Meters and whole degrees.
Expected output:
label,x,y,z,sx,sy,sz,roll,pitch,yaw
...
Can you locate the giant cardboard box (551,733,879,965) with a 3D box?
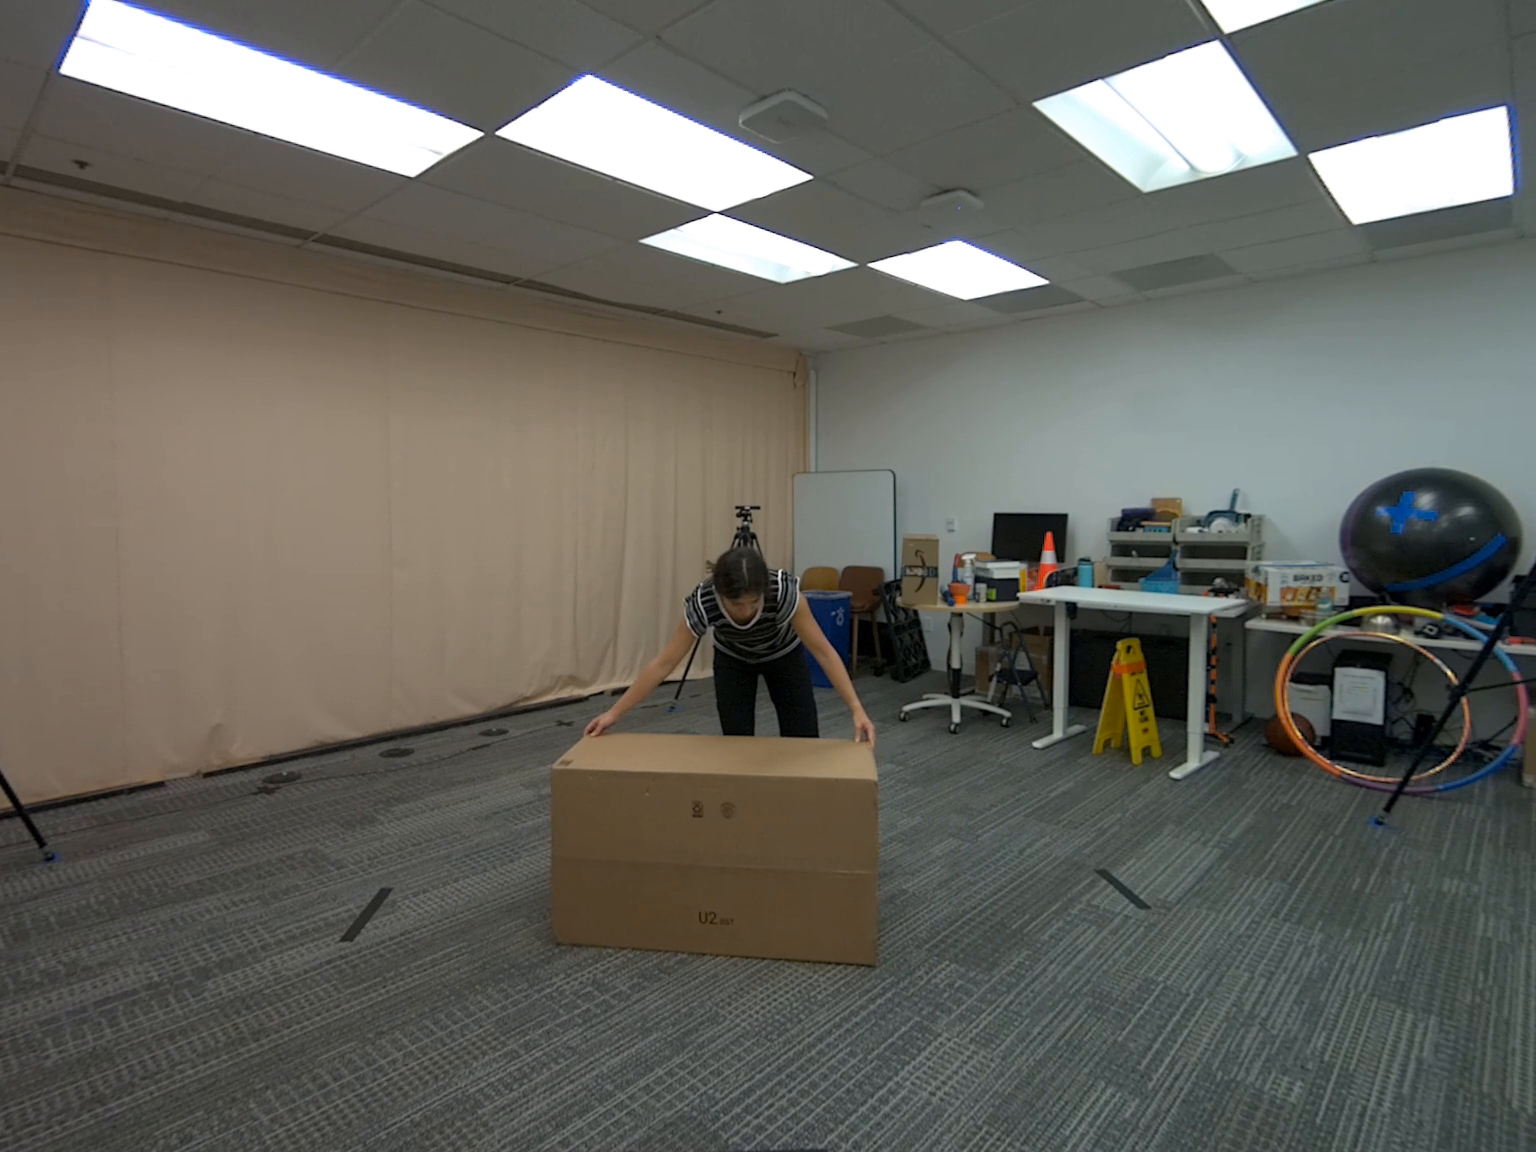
label,x,y,z,sx,sy,sz,roll,pitch,yaw
giant cardboard box,-0.163,0.867,2.803,1.035,0.576,0.423,0,3,7
